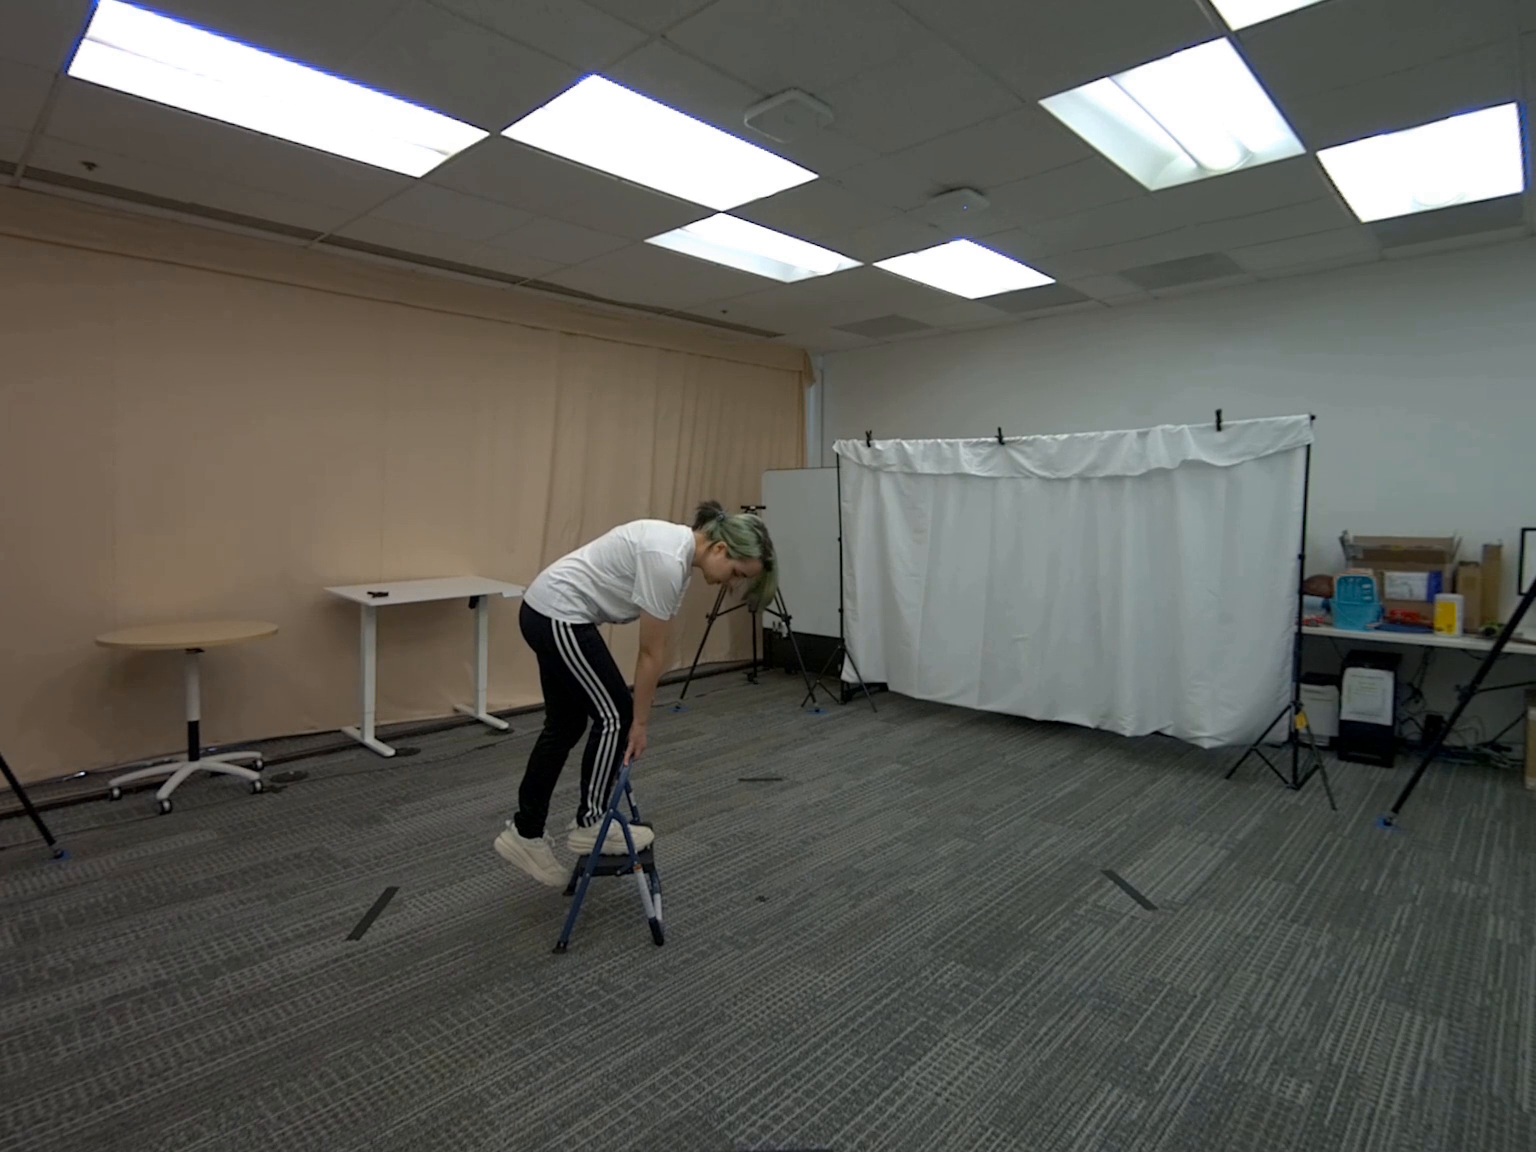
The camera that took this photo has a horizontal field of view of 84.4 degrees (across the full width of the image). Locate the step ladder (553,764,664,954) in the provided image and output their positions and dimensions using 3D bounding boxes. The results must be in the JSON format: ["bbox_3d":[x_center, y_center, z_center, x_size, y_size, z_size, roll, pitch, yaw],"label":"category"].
[{"bbox_3d":[-0.533,0.862,2.837,0.347,0.605,0.435,-1,3,-8],"label":"step ladder"}]
